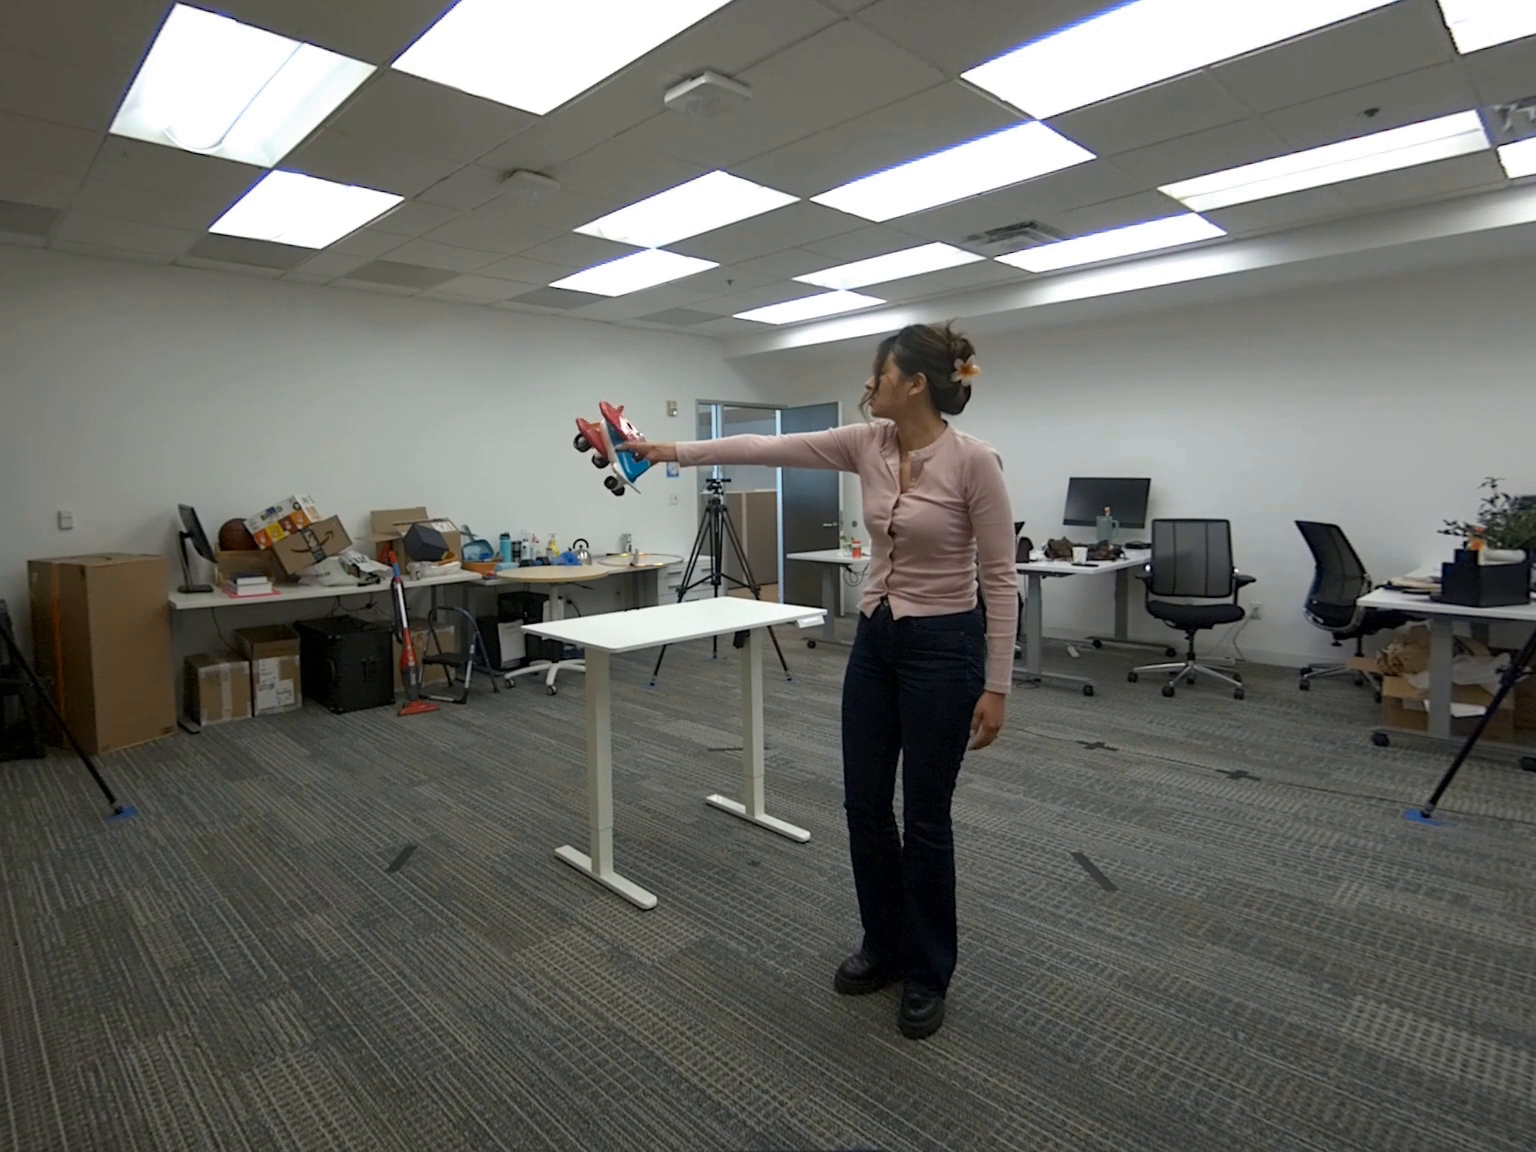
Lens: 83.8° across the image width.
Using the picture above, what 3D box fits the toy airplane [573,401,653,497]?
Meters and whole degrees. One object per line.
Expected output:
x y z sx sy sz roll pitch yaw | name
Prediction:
-0.397 -0.327 2.329 0.156 0.264 0.246 -43 -14 3 | toy airplane
